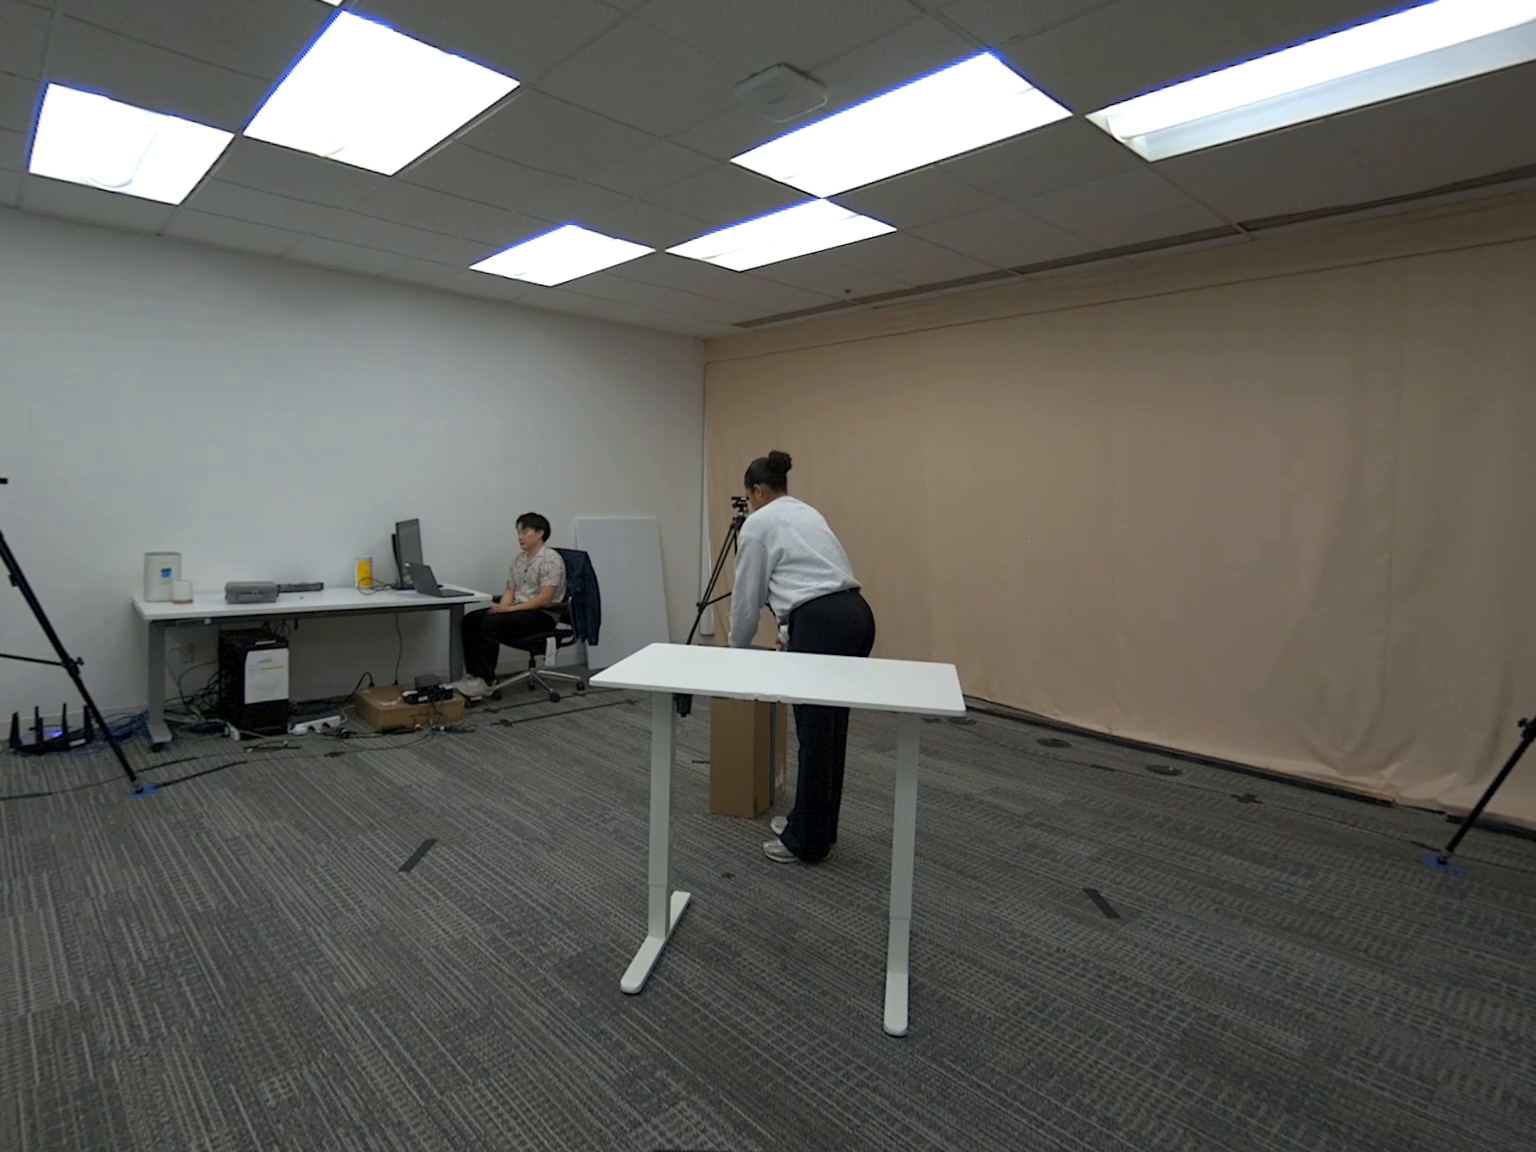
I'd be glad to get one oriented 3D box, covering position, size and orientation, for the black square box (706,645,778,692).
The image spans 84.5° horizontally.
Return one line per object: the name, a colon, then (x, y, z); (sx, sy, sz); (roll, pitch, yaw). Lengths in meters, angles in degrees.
black square box: (-0.118, 0.403, 3.790); (0.222, 0.155, 0.223); (4, 5, 38)
